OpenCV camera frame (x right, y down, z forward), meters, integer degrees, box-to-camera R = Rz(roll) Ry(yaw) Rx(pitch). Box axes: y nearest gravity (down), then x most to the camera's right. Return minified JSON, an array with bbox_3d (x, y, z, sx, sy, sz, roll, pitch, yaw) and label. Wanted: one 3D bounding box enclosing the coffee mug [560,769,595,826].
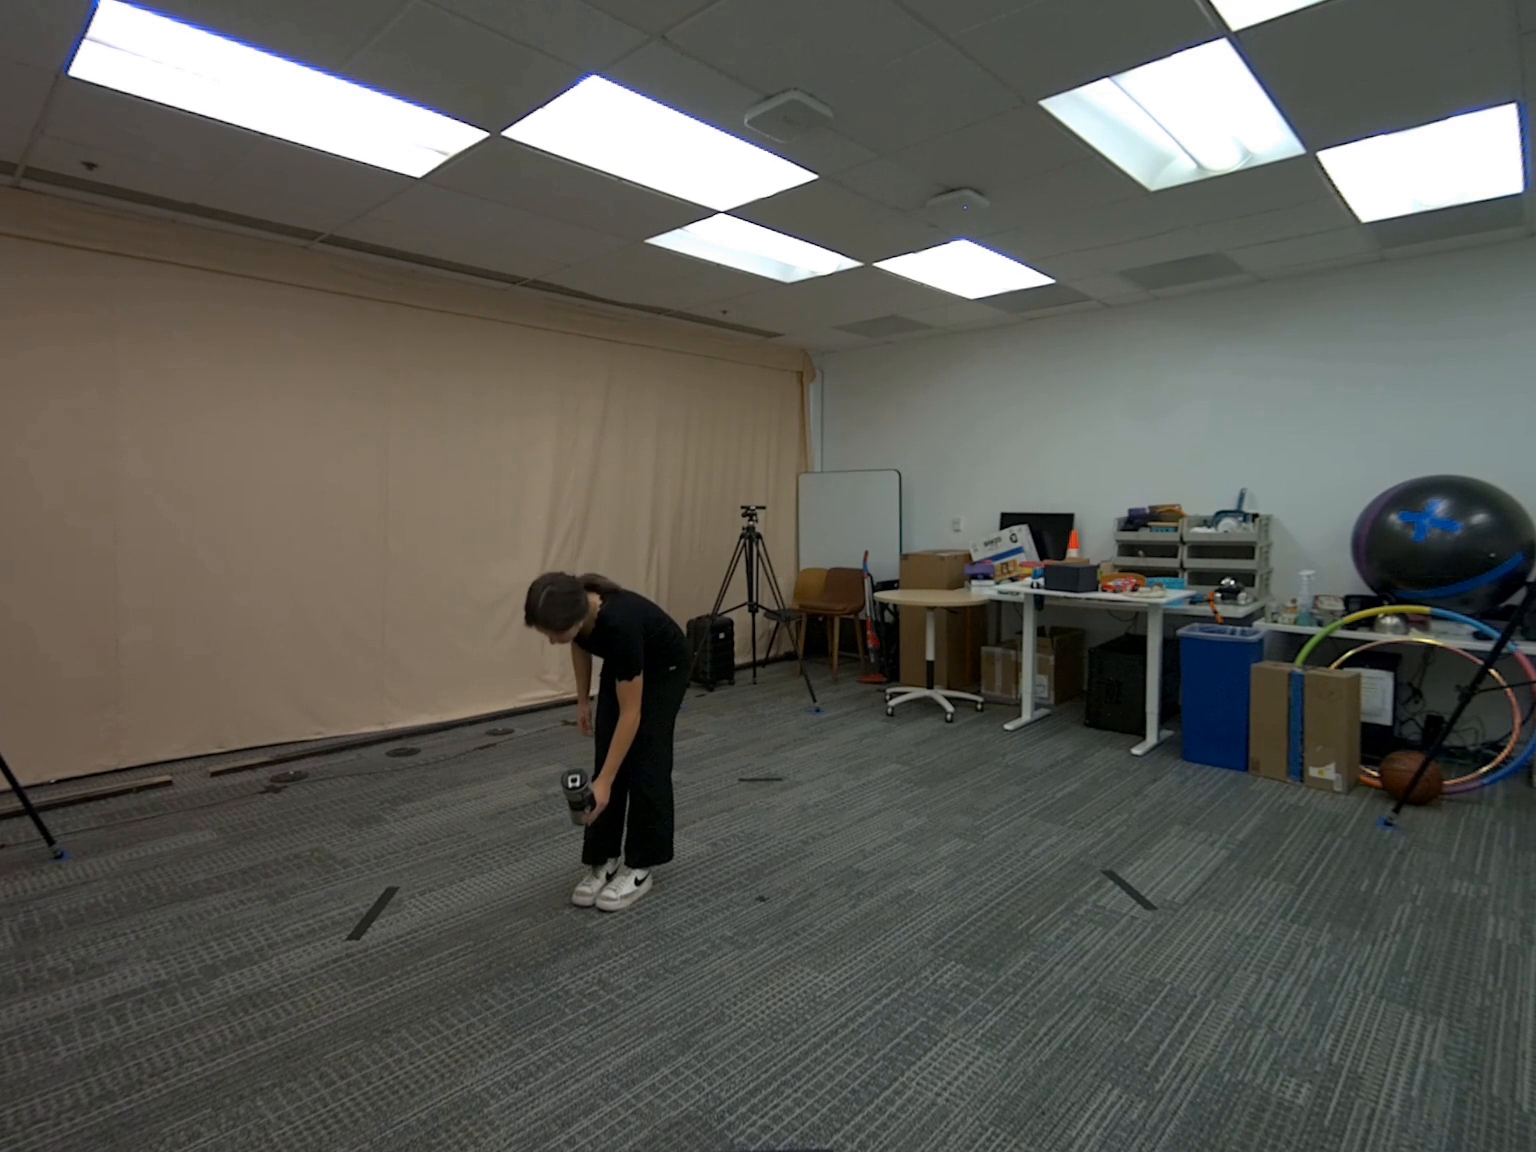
[{"bbox_3d":[-0.592,0.721,2.727,0.125,0.199,0.087,17,39,23],"label":"coffee mug"}]
